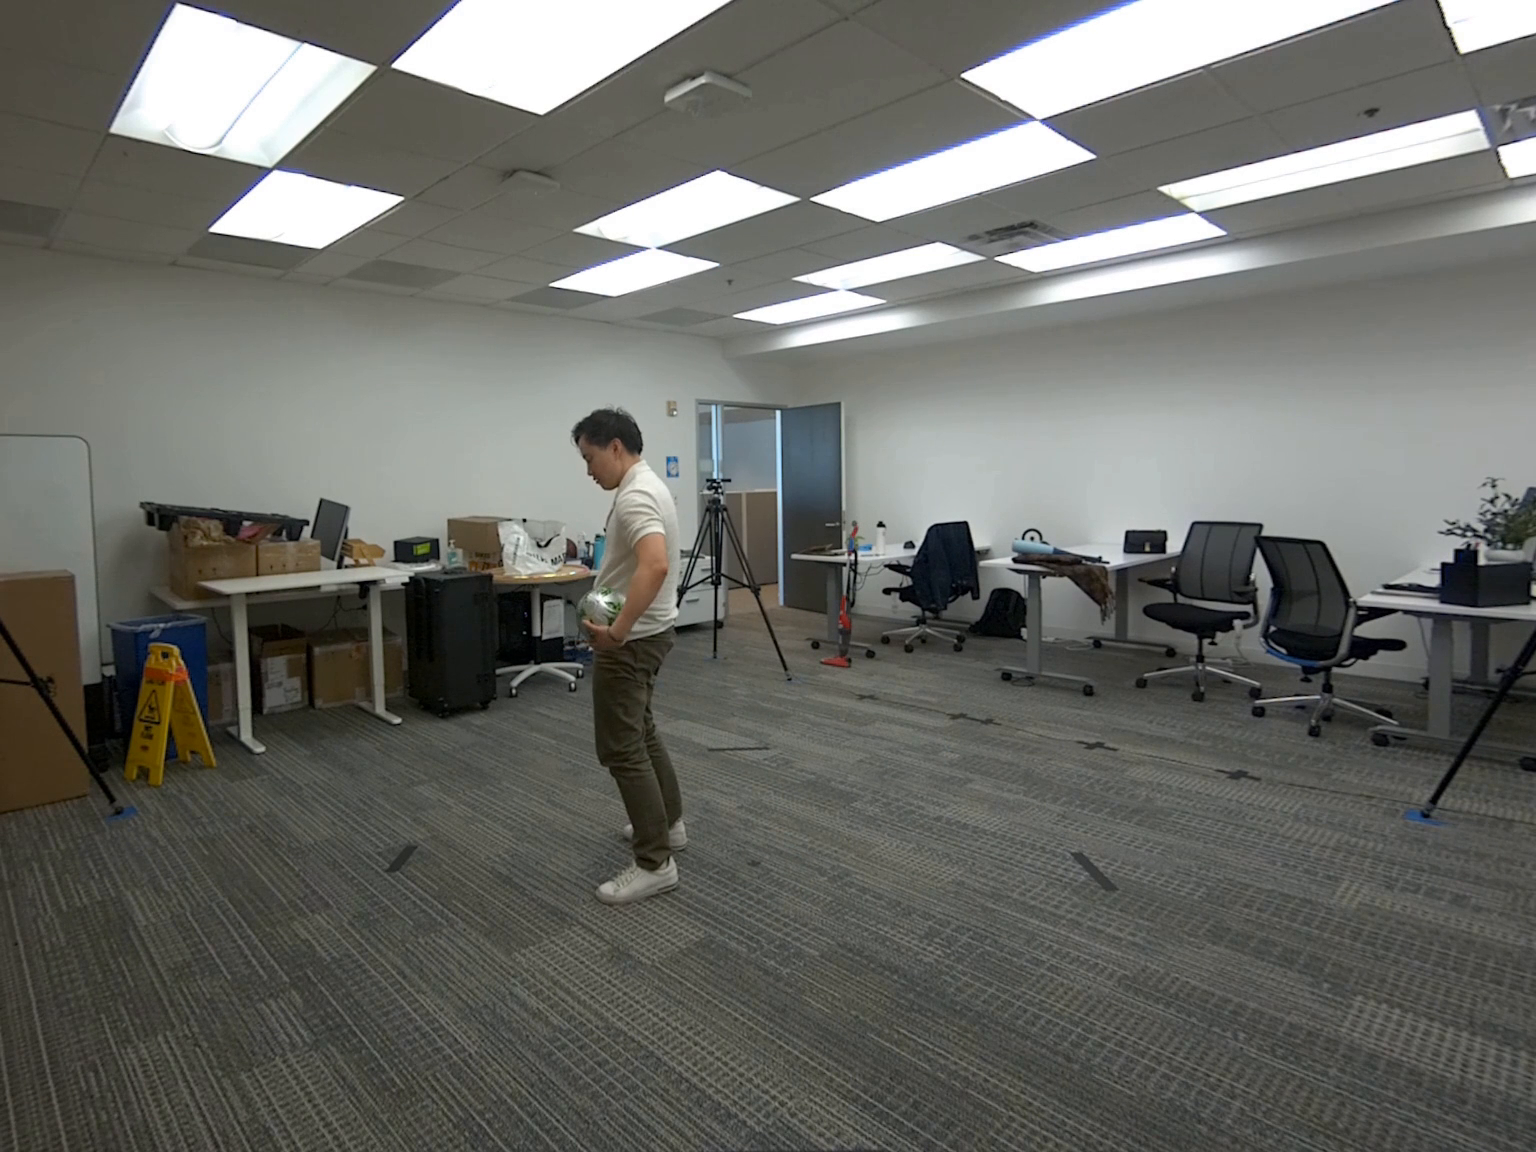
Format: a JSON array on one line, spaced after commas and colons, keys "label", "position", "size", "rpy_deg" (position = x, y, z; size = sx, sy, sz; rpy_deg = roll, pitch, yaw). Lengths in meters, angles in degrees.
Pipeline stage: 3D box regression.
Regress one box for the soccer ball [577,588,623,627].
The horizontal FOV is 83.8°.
[{"label": "soccer ball", "position": [-0.537, 0.130, 2.754], "size": [0.187, 0.187, 0.188], "rpy_deg": [-1, 5, -2]}]
